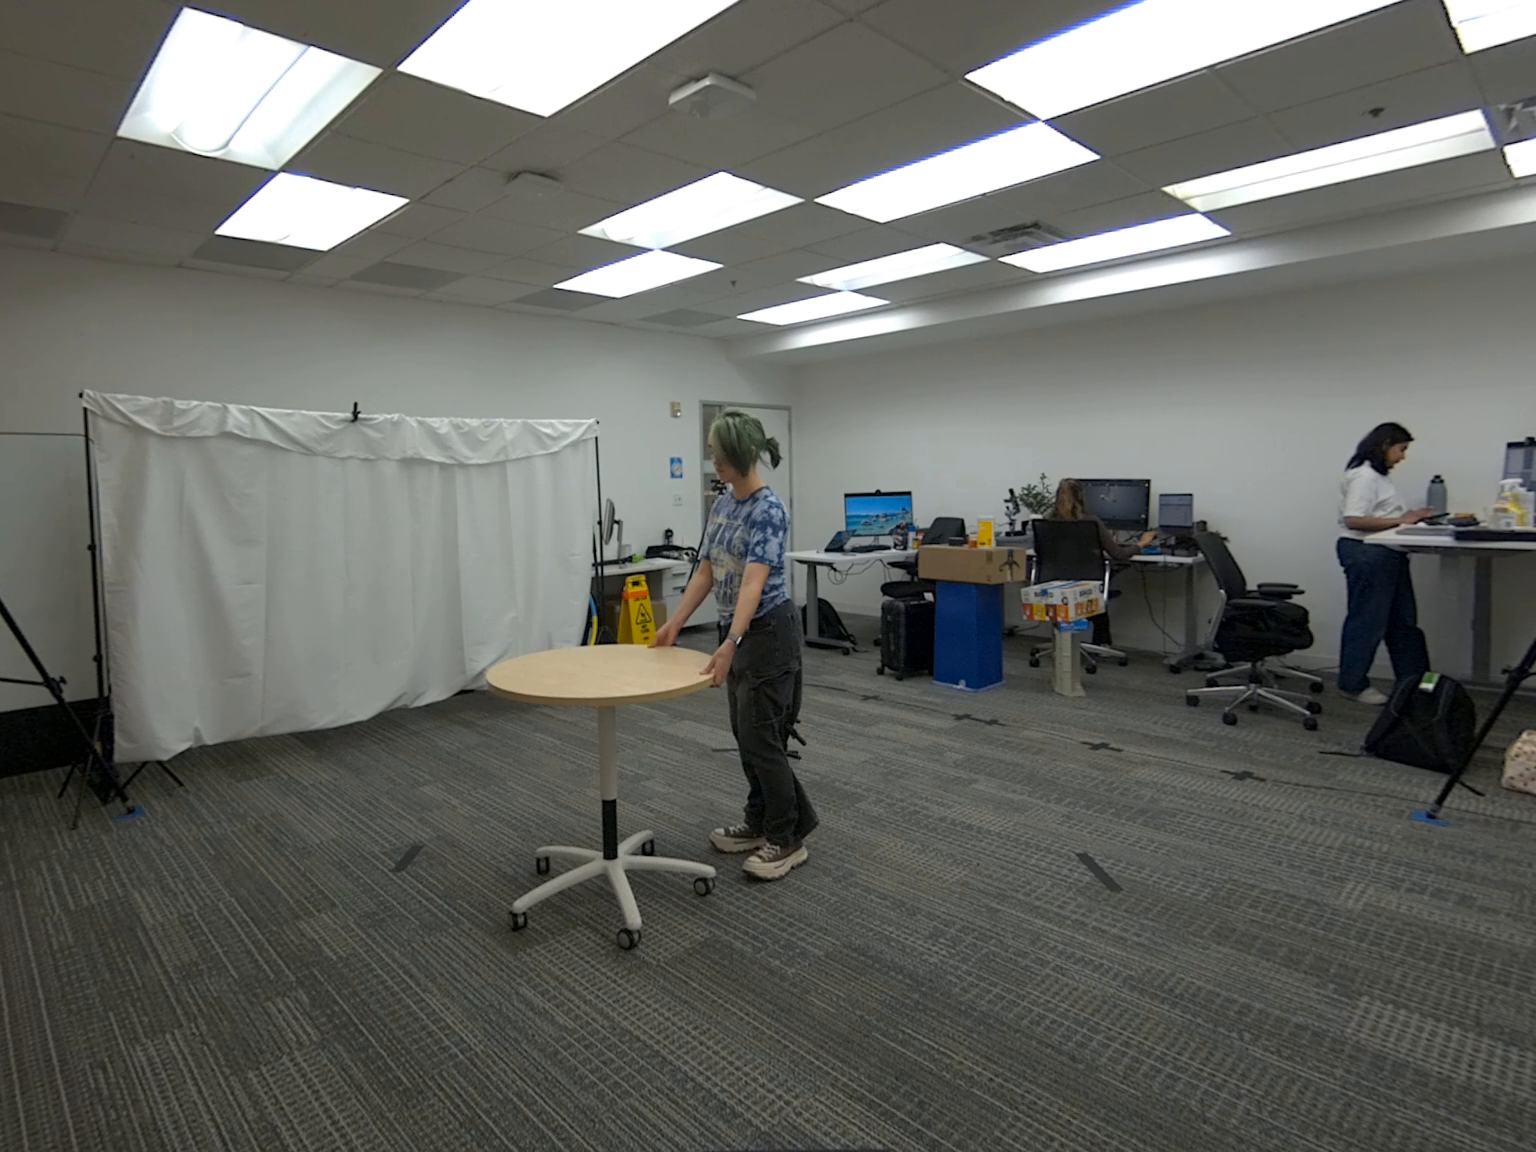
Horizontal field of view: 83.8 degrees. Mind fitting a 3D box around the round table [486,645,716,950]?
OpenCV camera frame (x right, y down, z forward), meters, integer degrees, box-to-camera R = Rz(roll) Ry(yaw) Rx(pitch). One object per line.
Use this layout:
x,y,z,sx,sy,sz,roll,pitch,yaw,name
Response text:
-0.525,0.695,2.848,0.763,0.790,0.768,-1,5,-2,round table
